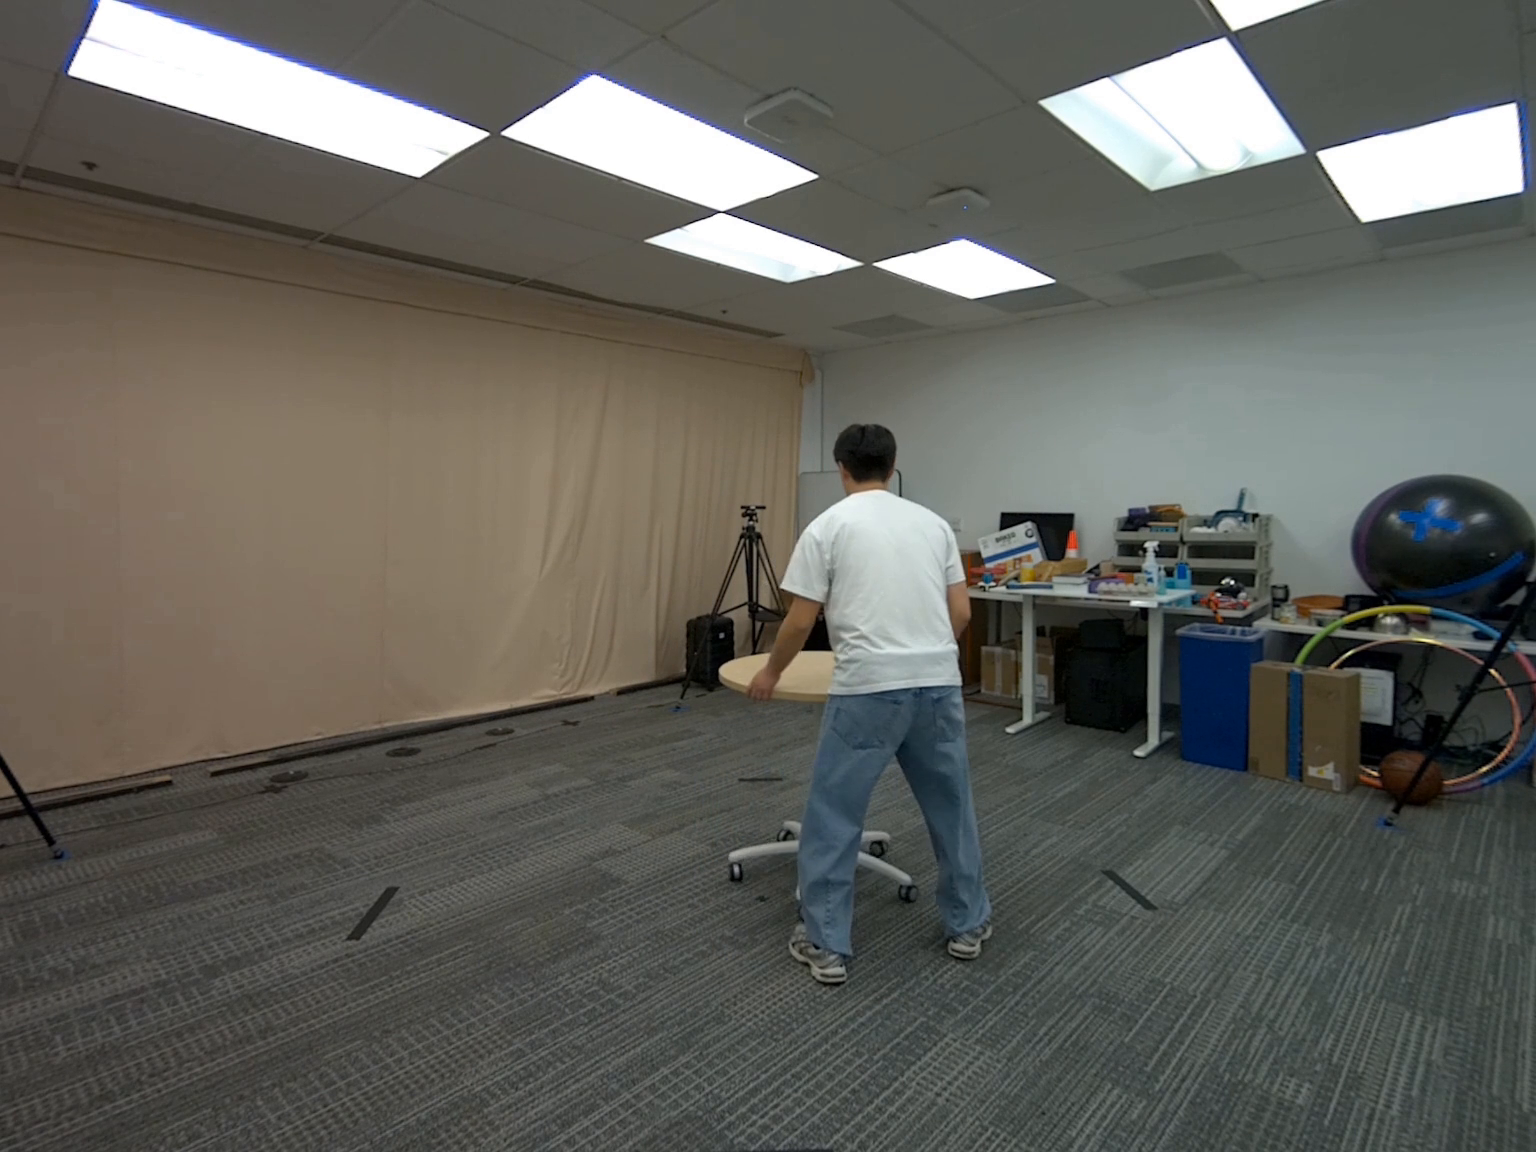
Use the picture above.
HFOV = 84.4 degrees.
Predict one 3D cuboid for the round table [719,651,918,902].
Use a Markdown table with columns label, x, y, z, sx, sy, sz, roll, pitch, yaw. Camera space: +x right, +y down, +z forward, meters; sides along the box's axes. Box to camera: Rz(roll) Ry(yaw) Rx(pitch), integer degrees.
| label | x | y | z | sx | sy | sz | roll | pitch | yaw |
| --- | --- | --- | --- | --- | --- | --- | --- | --- | --- |
| round table | 0.195 | 0.736 | 3.119 | 0.784 | 0.784 | 0.788 | 0 | 4 | -2 |
